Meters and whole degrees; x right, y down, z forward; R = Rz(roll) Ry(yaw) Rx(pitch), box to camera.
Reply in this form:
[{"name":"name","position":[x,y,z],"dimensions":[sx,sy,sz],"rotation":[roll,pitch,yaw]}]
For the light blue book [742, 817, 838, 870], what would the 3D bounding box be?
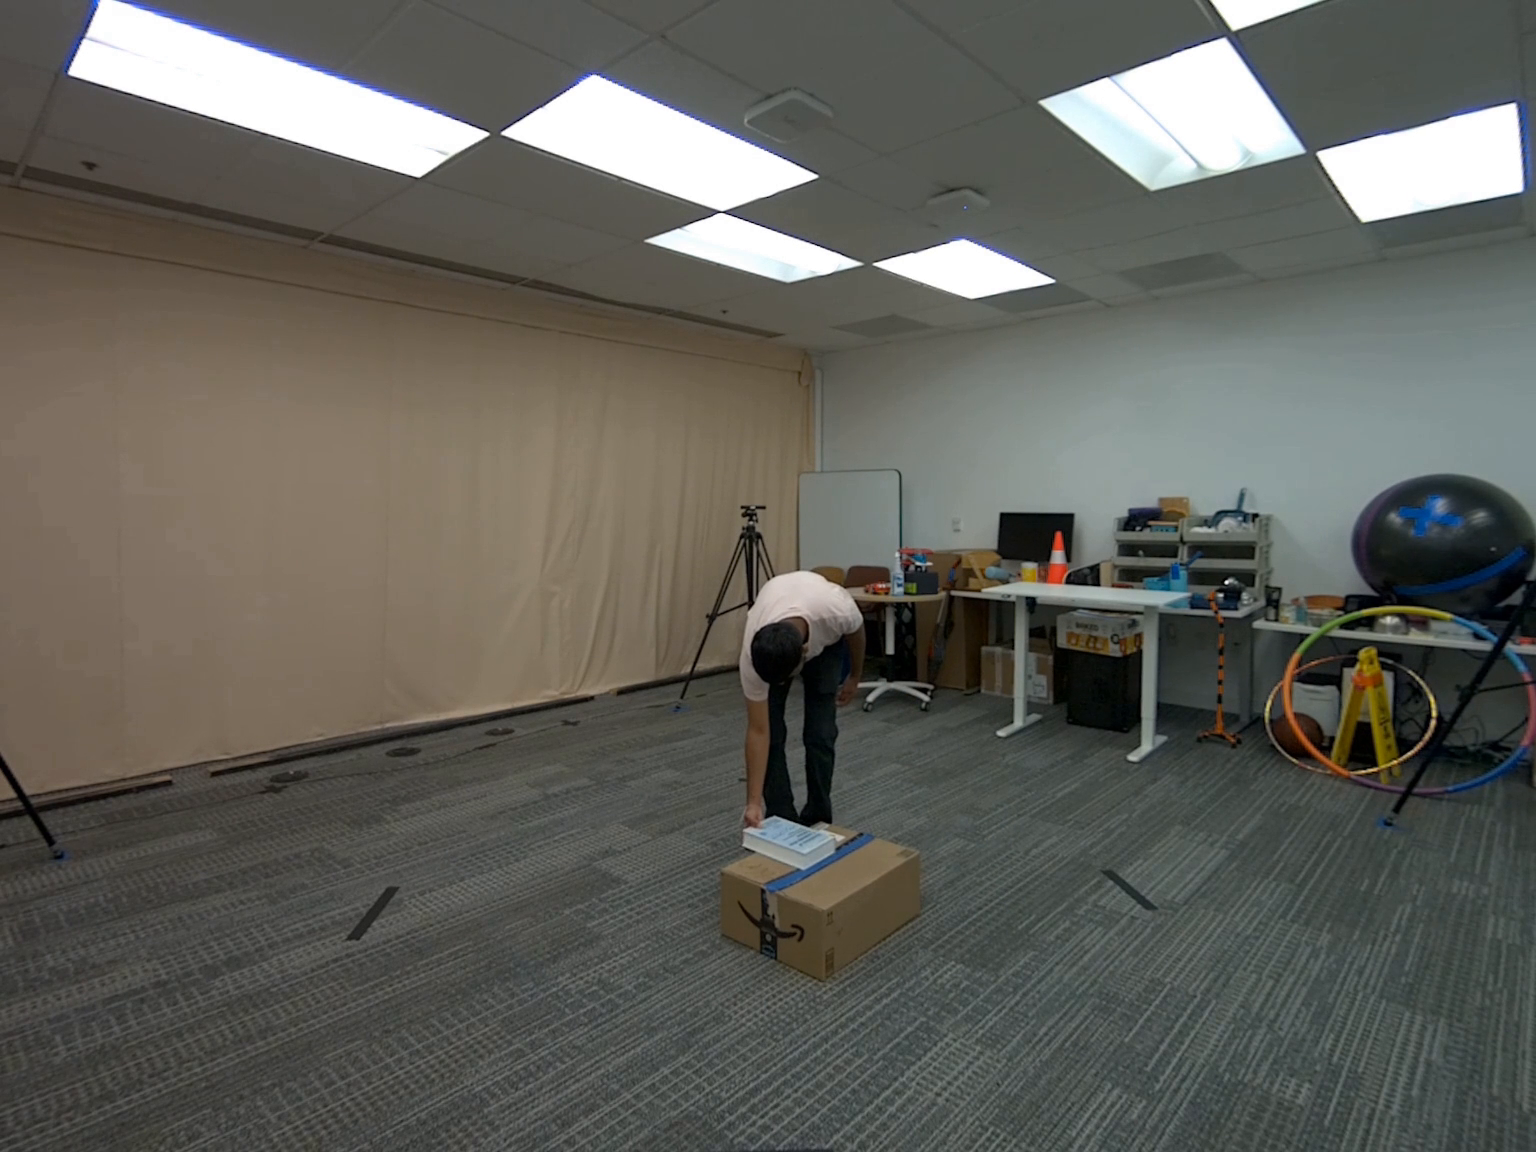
[{"name":"light blue book","position":[0.062,0.908,2.893],"dimensions":[0.269,0.059,0.186],"rotation":[6,7,36]}]
